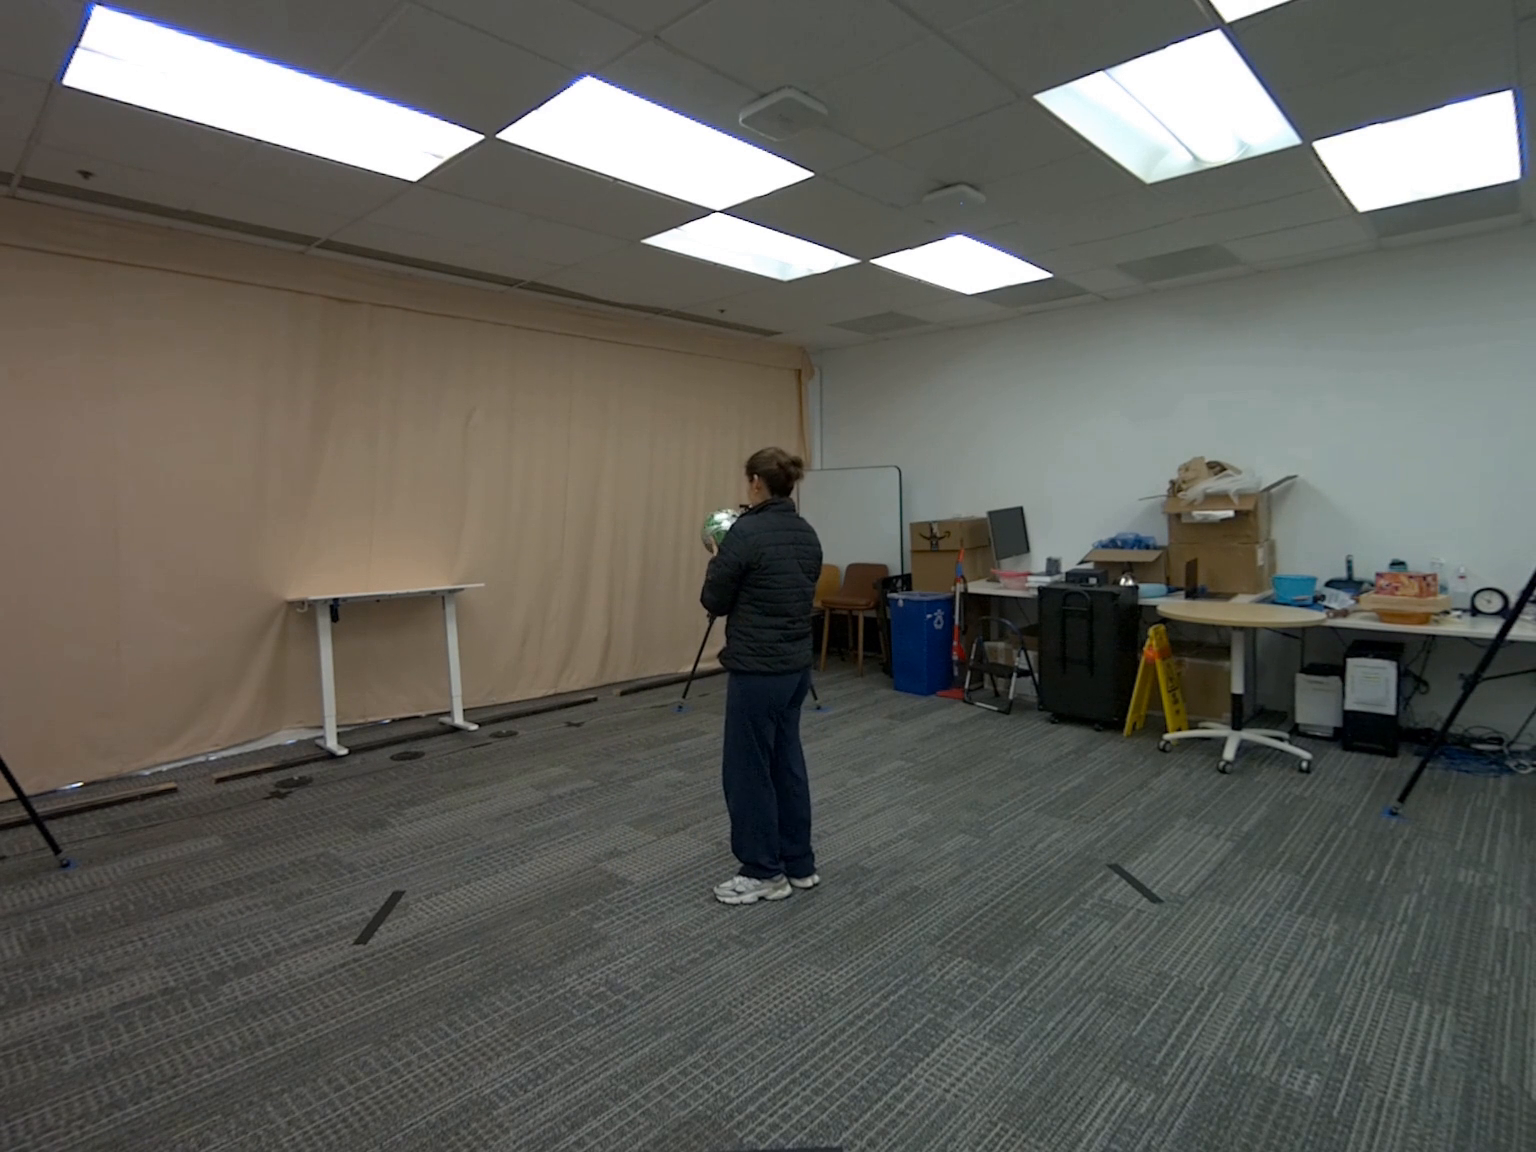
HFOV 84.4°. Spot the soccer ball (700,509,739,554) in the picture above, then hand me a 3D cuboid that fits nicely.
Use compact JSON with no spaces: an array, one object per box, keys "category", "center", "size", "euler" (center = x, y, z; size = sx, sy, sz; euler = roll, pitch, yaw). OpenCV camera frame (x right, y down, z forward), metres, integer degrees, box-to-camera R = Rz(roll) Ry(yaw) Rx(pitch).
[{"category":"soccer ball","center":[-0.160,-0.169,3.261],"size":[0.187,0.187,0.188],"euler":[-1,4,-2]}]
